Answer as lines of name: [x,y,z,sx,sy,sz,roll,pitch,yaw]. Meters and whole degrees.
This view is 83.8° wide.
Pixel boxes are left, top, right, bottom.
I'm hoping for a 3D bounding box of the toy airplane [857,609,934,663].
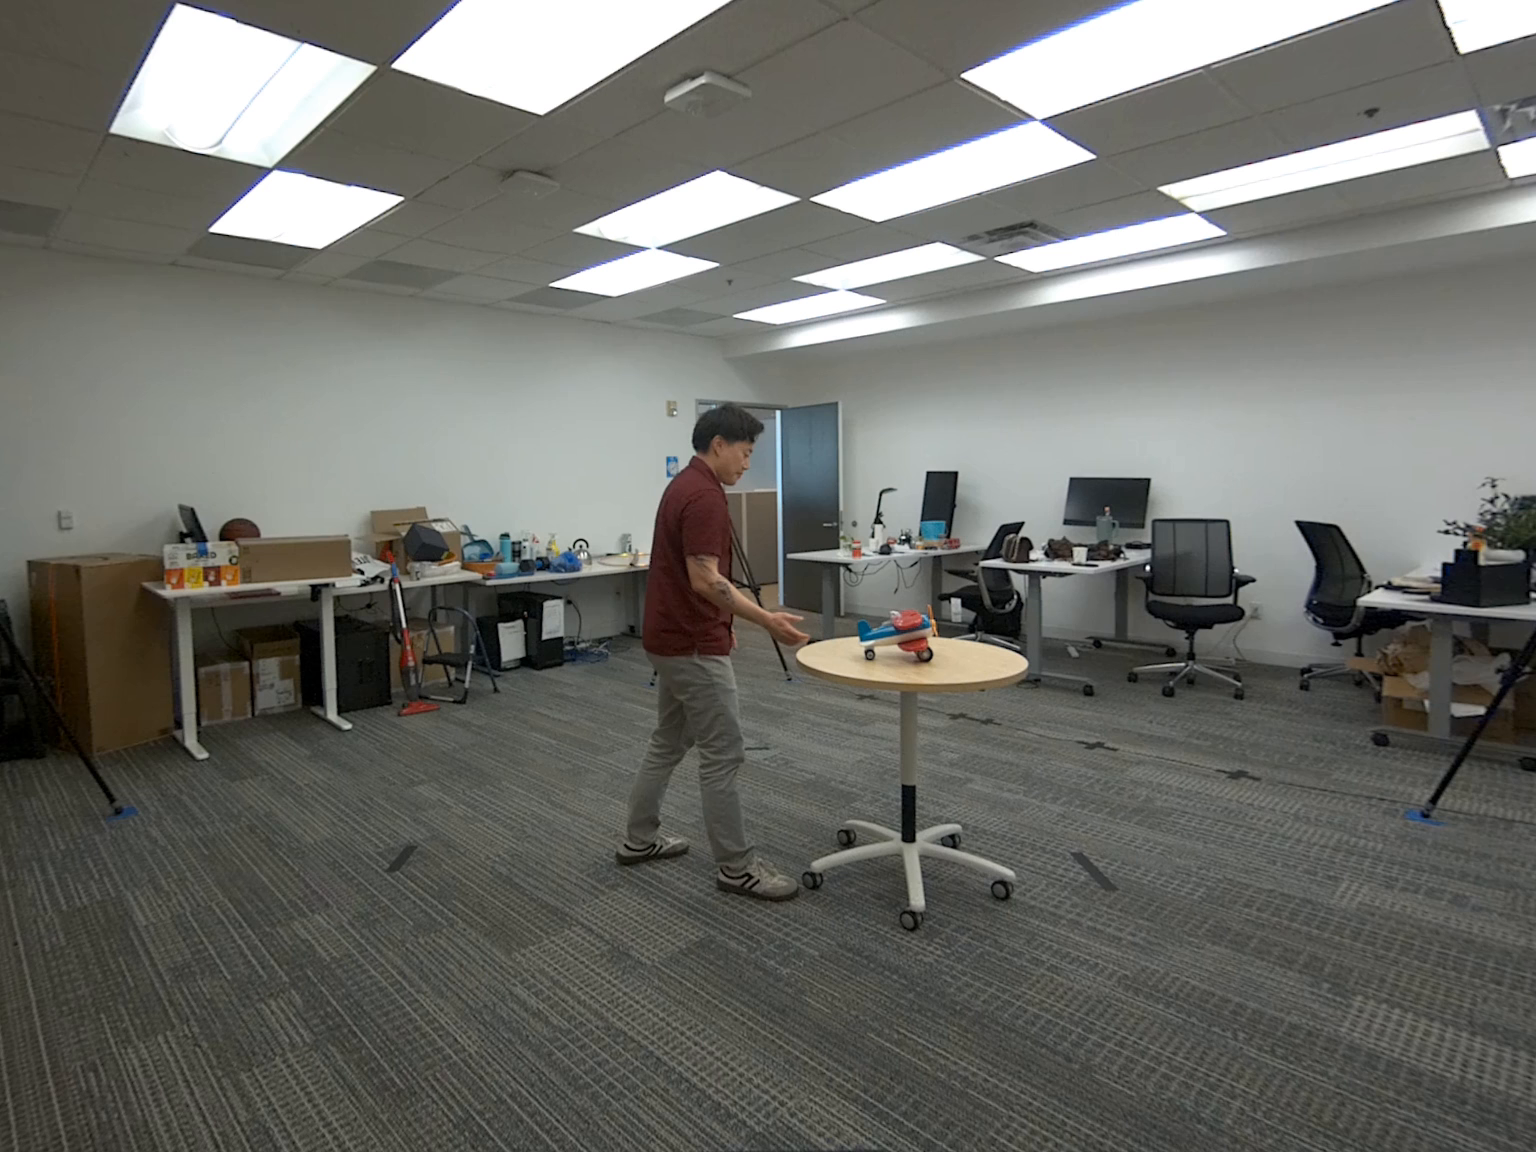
toy airplane: [0.433,0.203,2.842,0.254,0.156,0.257,-4,6,-27]
